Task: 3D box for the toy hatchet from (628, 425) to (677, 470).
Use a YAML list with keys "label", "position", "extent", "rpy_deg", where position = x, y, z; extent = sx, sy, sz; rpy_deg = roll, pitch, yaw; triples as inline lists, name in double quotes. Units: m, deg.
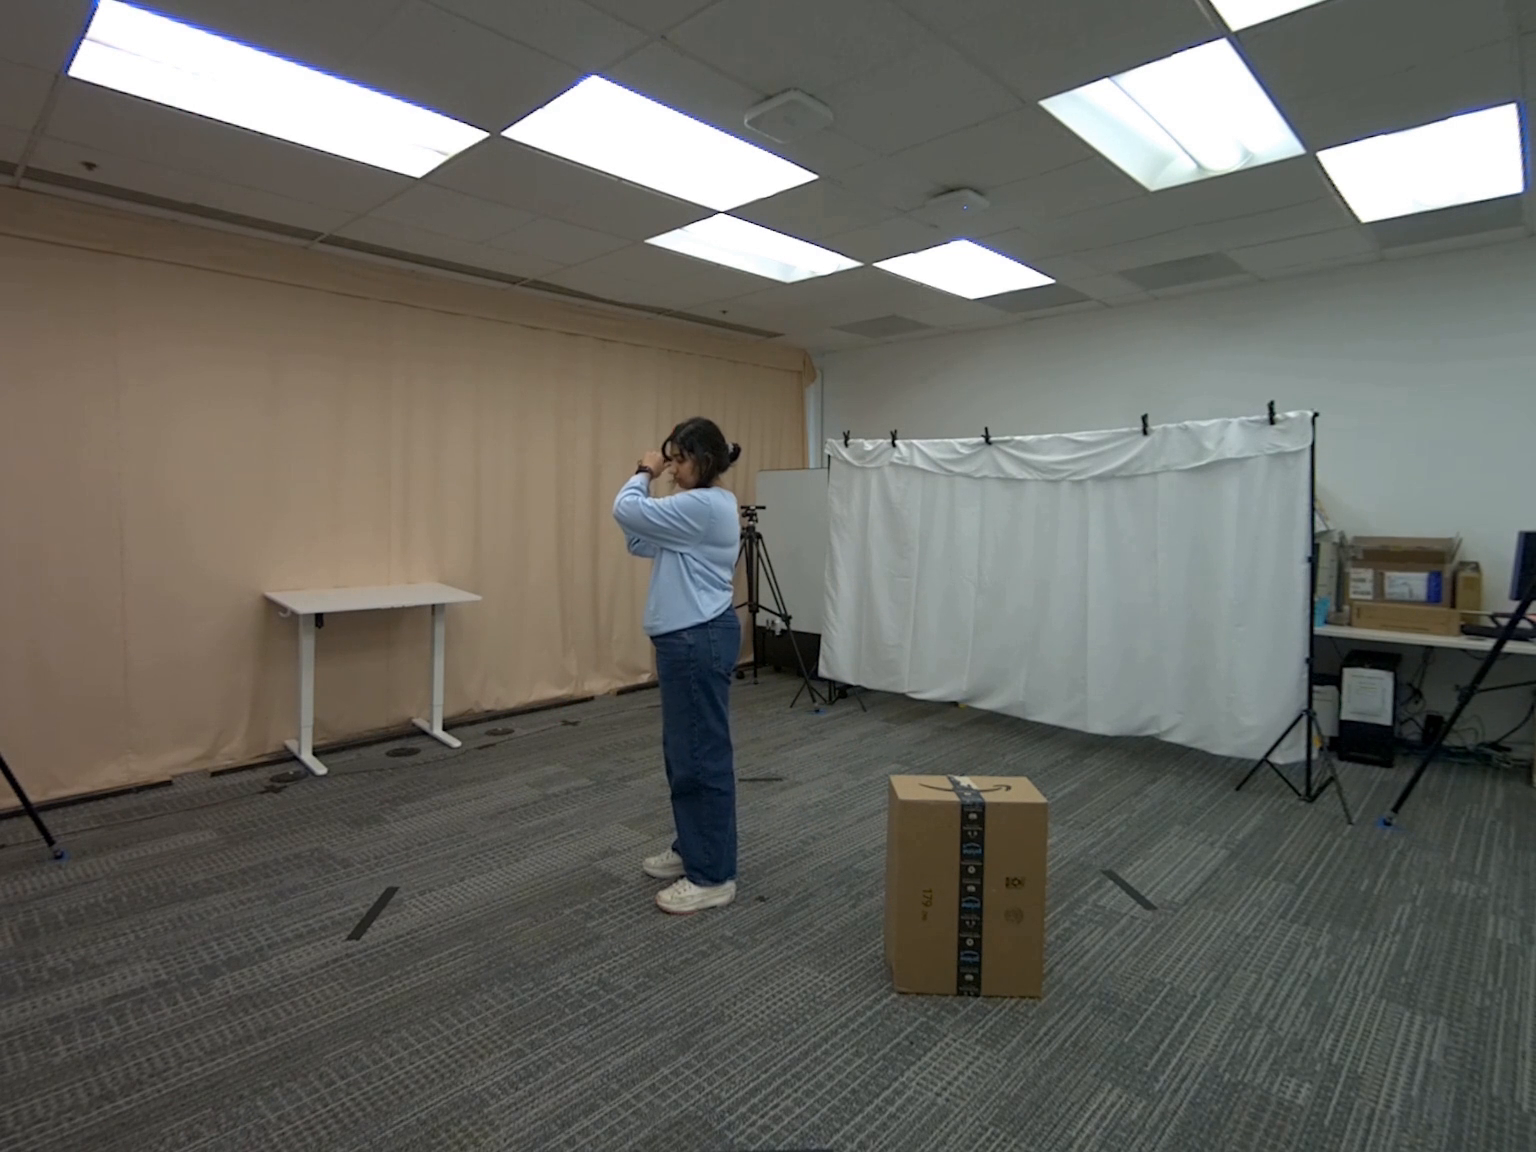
- label: "toy hatchet"
  position: [-0.377, -0.488, 3.172]
  extent: [0.268, 0.130, 0.030]
  rpy_deg: [-15, 6, -8]
